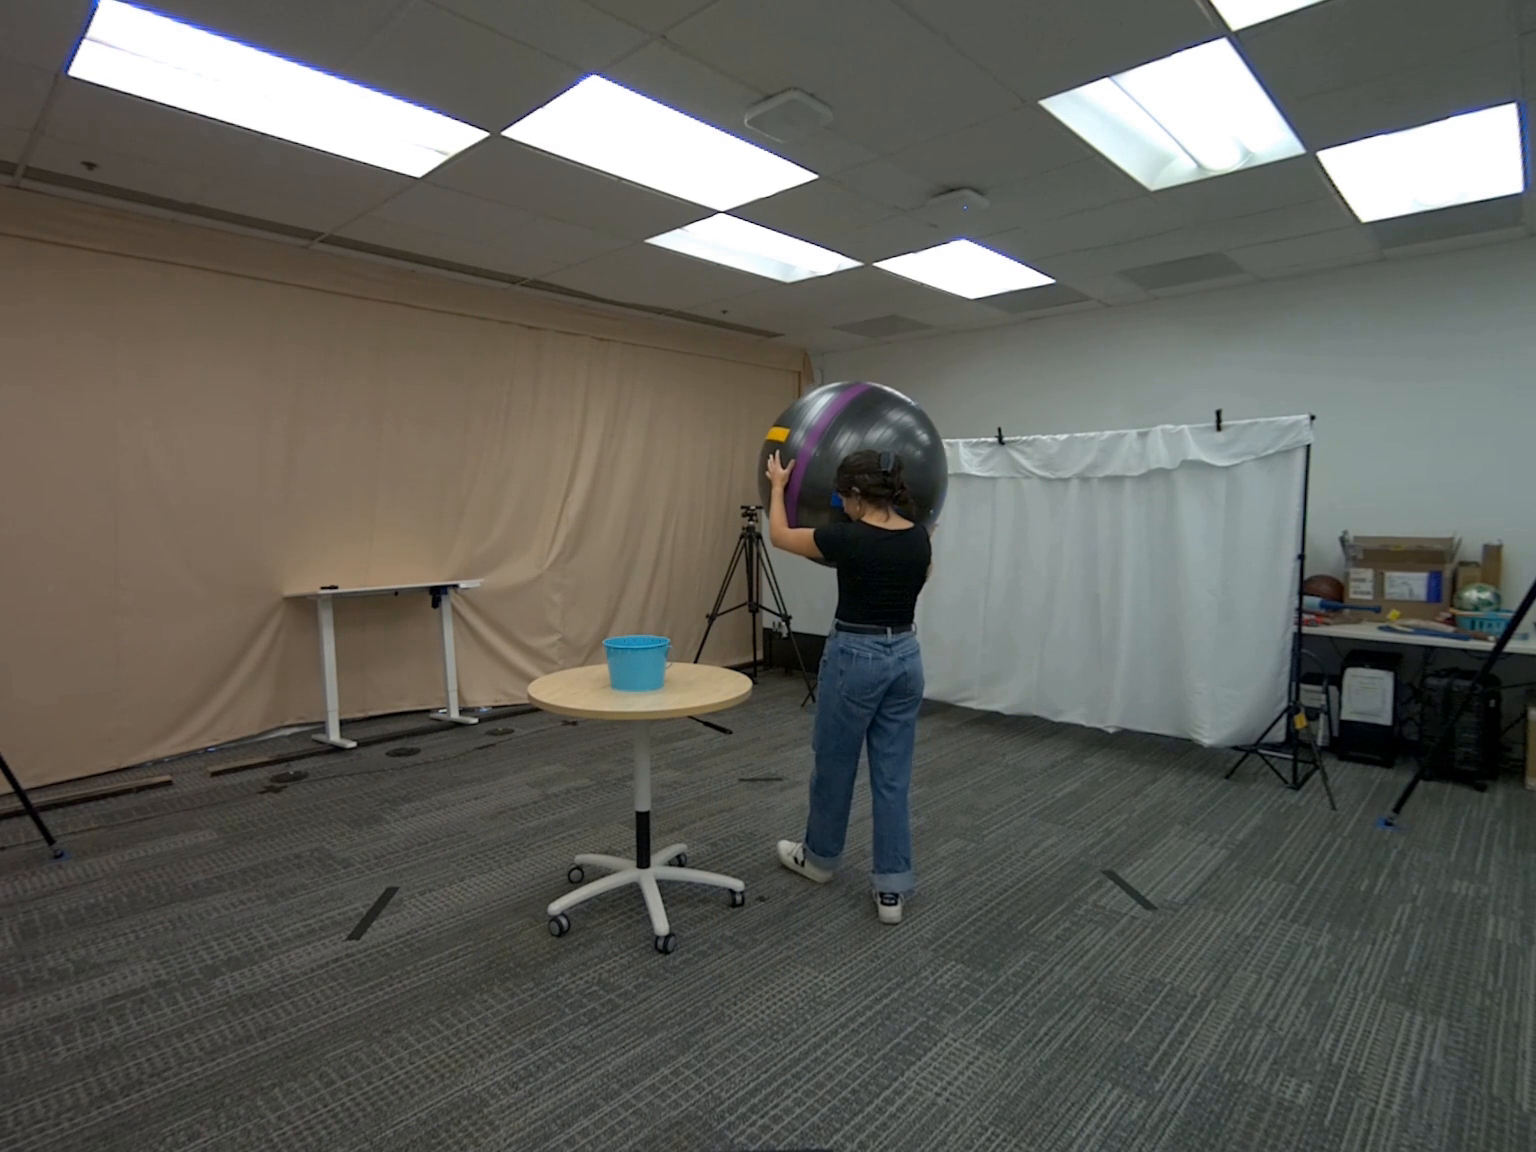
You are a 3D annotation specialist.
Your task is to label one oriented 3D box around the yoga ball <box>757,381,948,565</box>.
[{"bbox_3d":[0.338,-0.394,3.409,0.757,0.756,0.760,0,4,-2],"label":"yoga ball"}]
